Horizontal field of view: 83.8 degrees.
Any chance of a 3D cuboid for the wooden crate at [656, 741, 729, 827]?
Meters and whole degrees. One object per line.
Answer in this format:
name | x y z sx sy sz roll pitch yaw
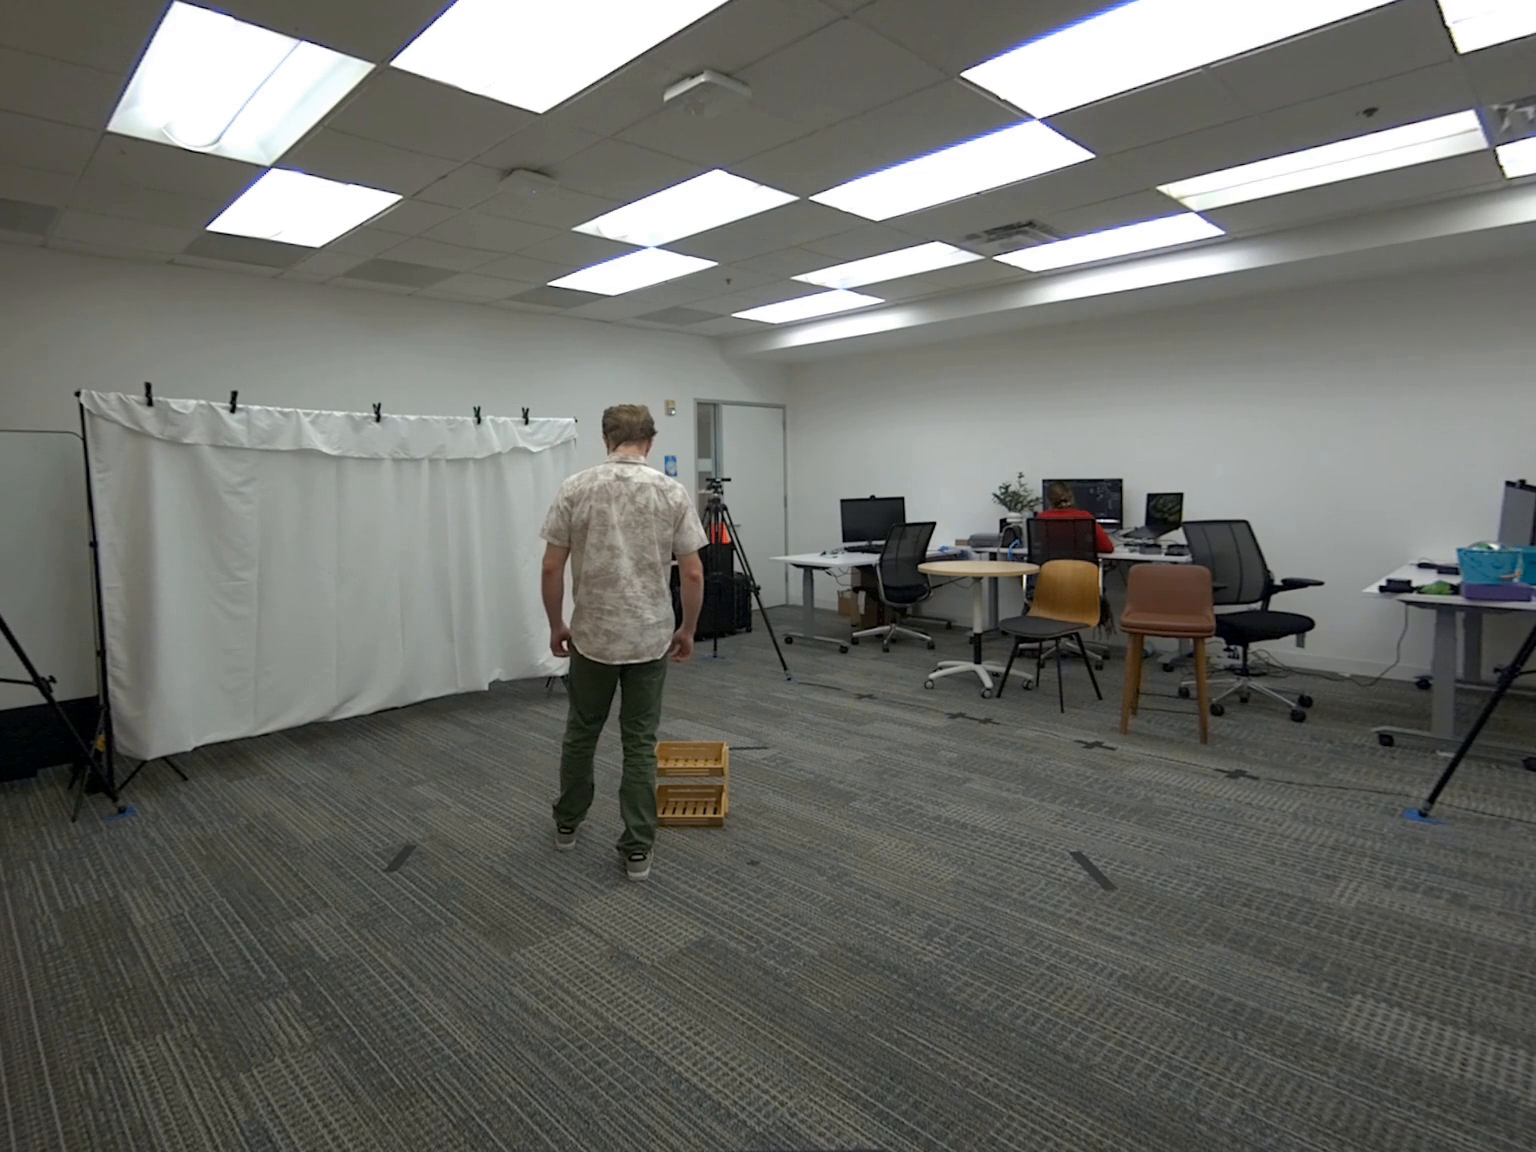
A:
wooden crate | -0.329 0.860 3.567 0.325 0.272 0.302 -1 4 2
